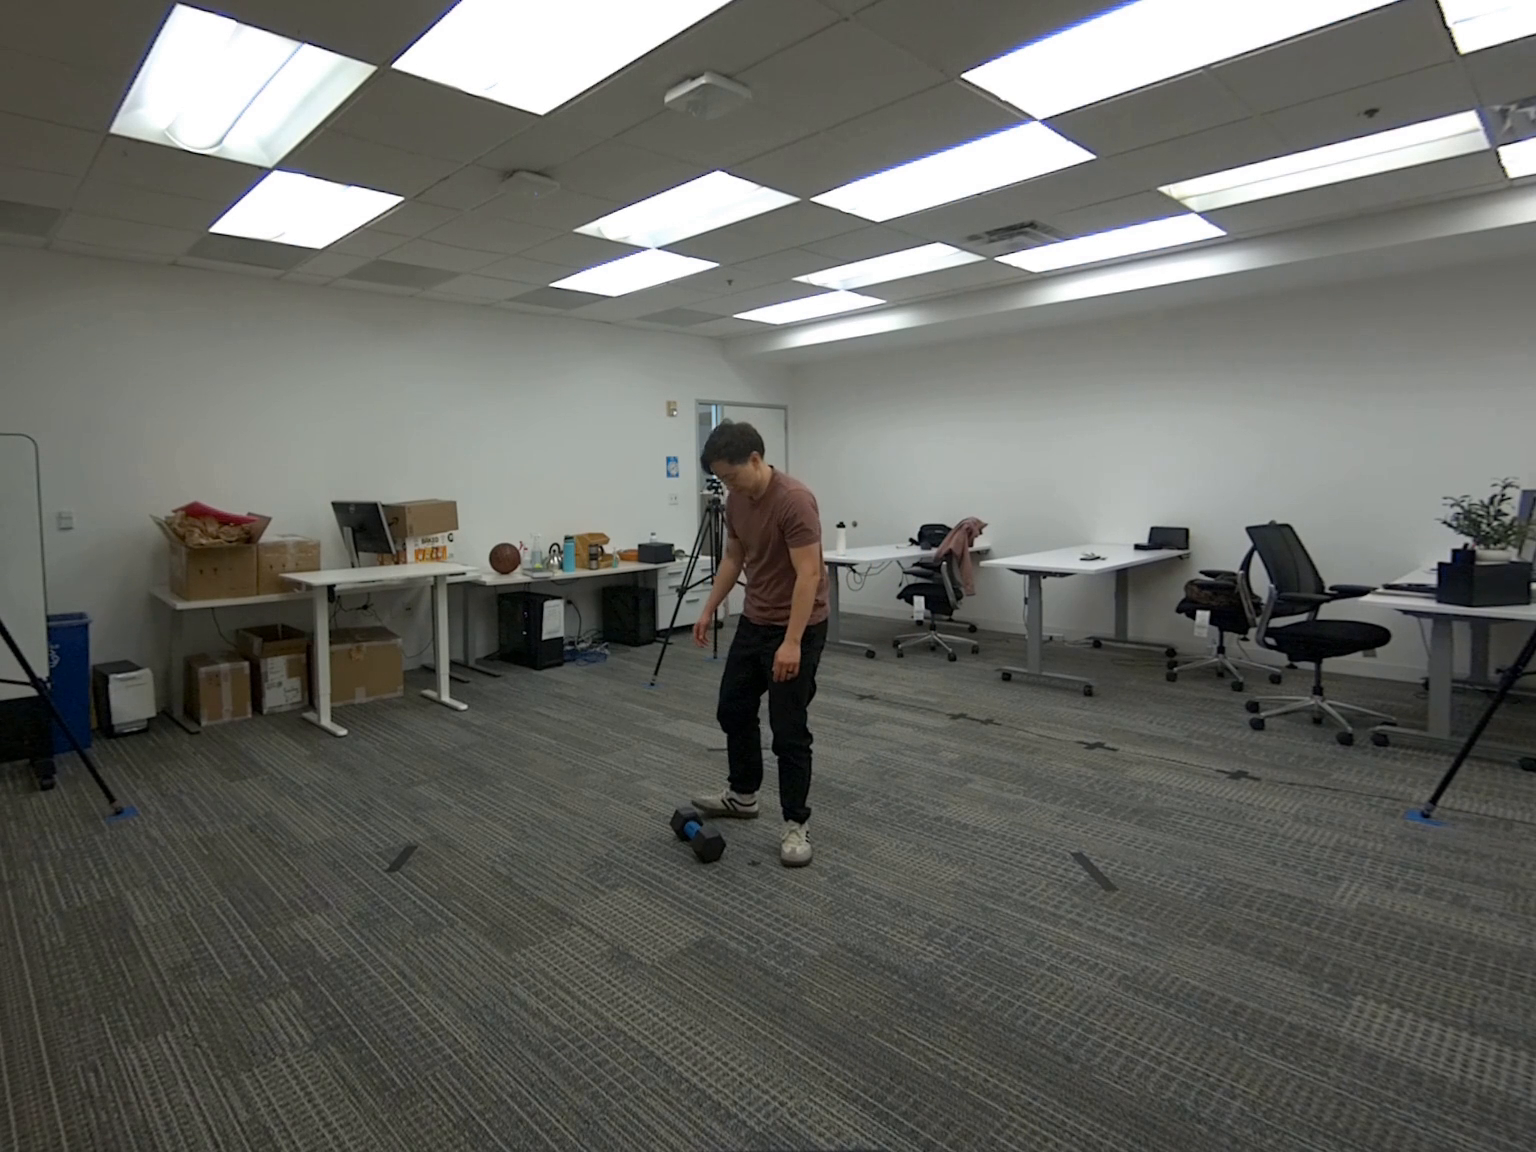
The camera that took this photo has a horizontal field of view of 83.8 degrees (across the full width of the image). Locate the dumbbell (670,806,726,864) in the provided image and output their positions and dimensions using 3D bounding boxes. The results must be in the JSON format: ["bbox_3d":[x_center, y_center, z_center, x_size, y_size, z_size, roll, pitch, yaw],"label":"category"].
[{"bbox_3d":[-0.267,0.978,3.243,0.108,0.120,0.301,-36,19,-19],"label":"dumbbell"}]
